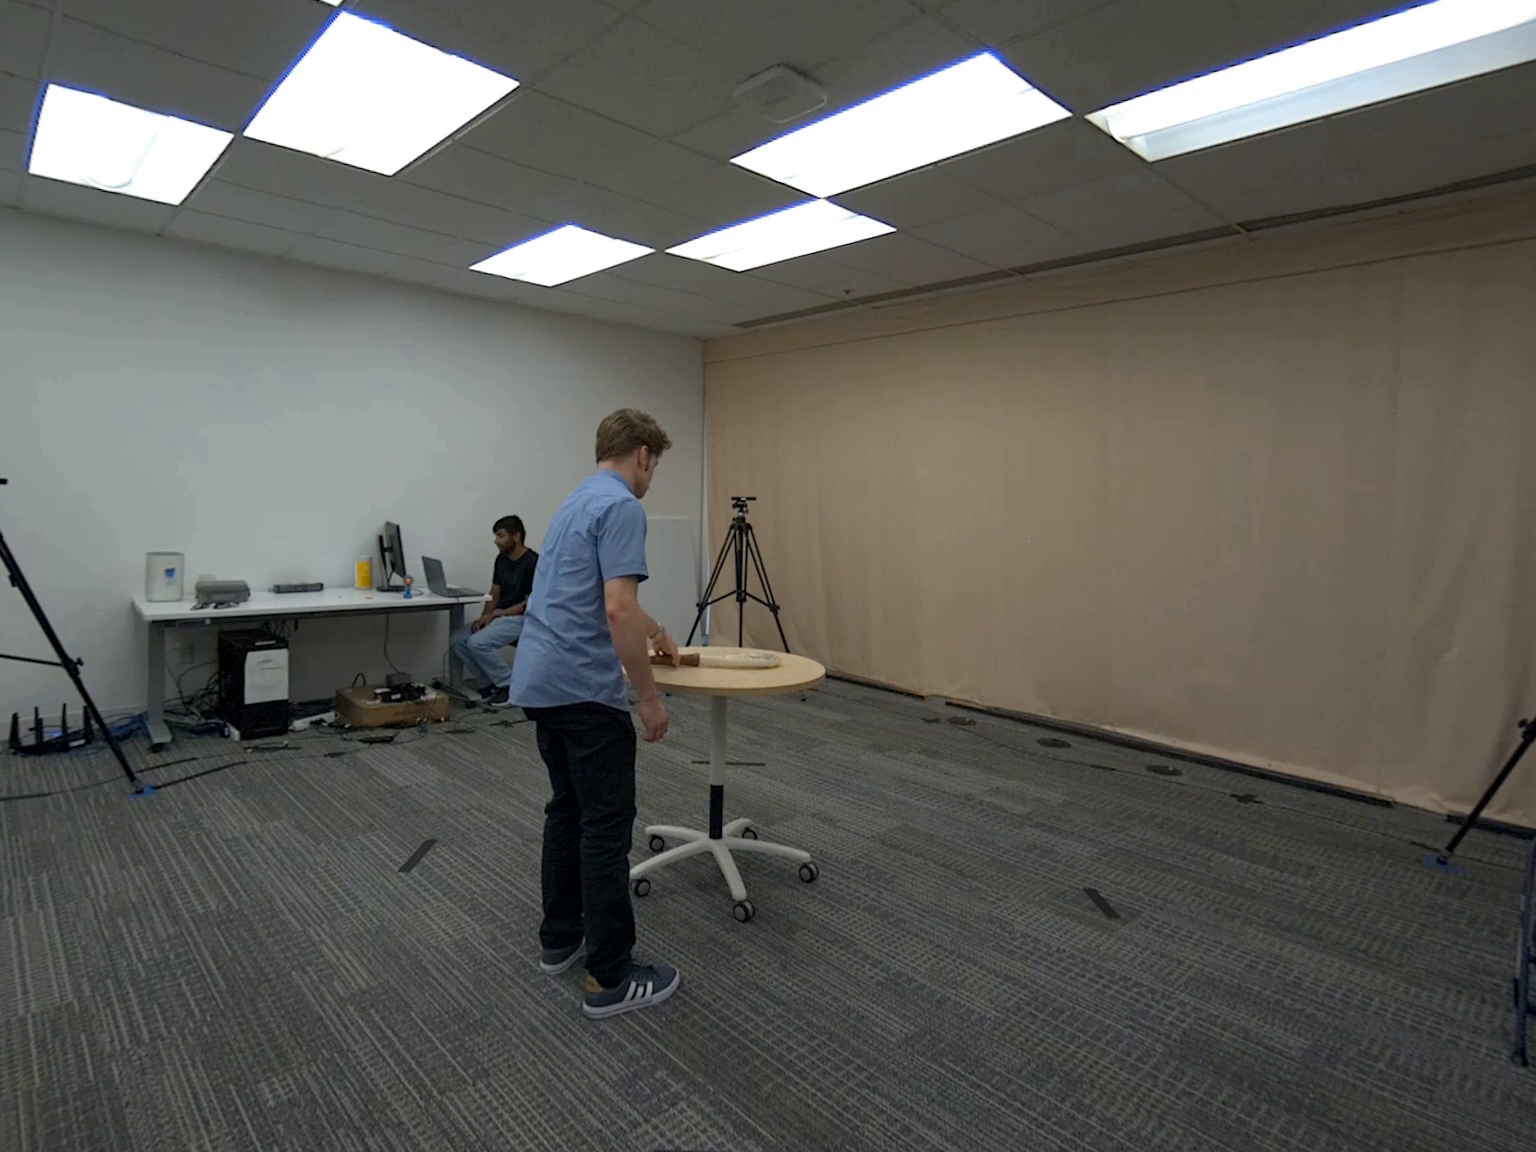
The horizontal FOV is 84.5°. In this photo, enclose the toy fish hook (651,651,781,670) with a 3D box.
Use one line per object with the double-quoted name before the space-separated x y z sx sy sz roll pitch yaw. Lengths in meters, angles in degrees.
"toy fish hook" -0.206 0.308 3.090 0.503 0.048 0.225 3 -2 -8
